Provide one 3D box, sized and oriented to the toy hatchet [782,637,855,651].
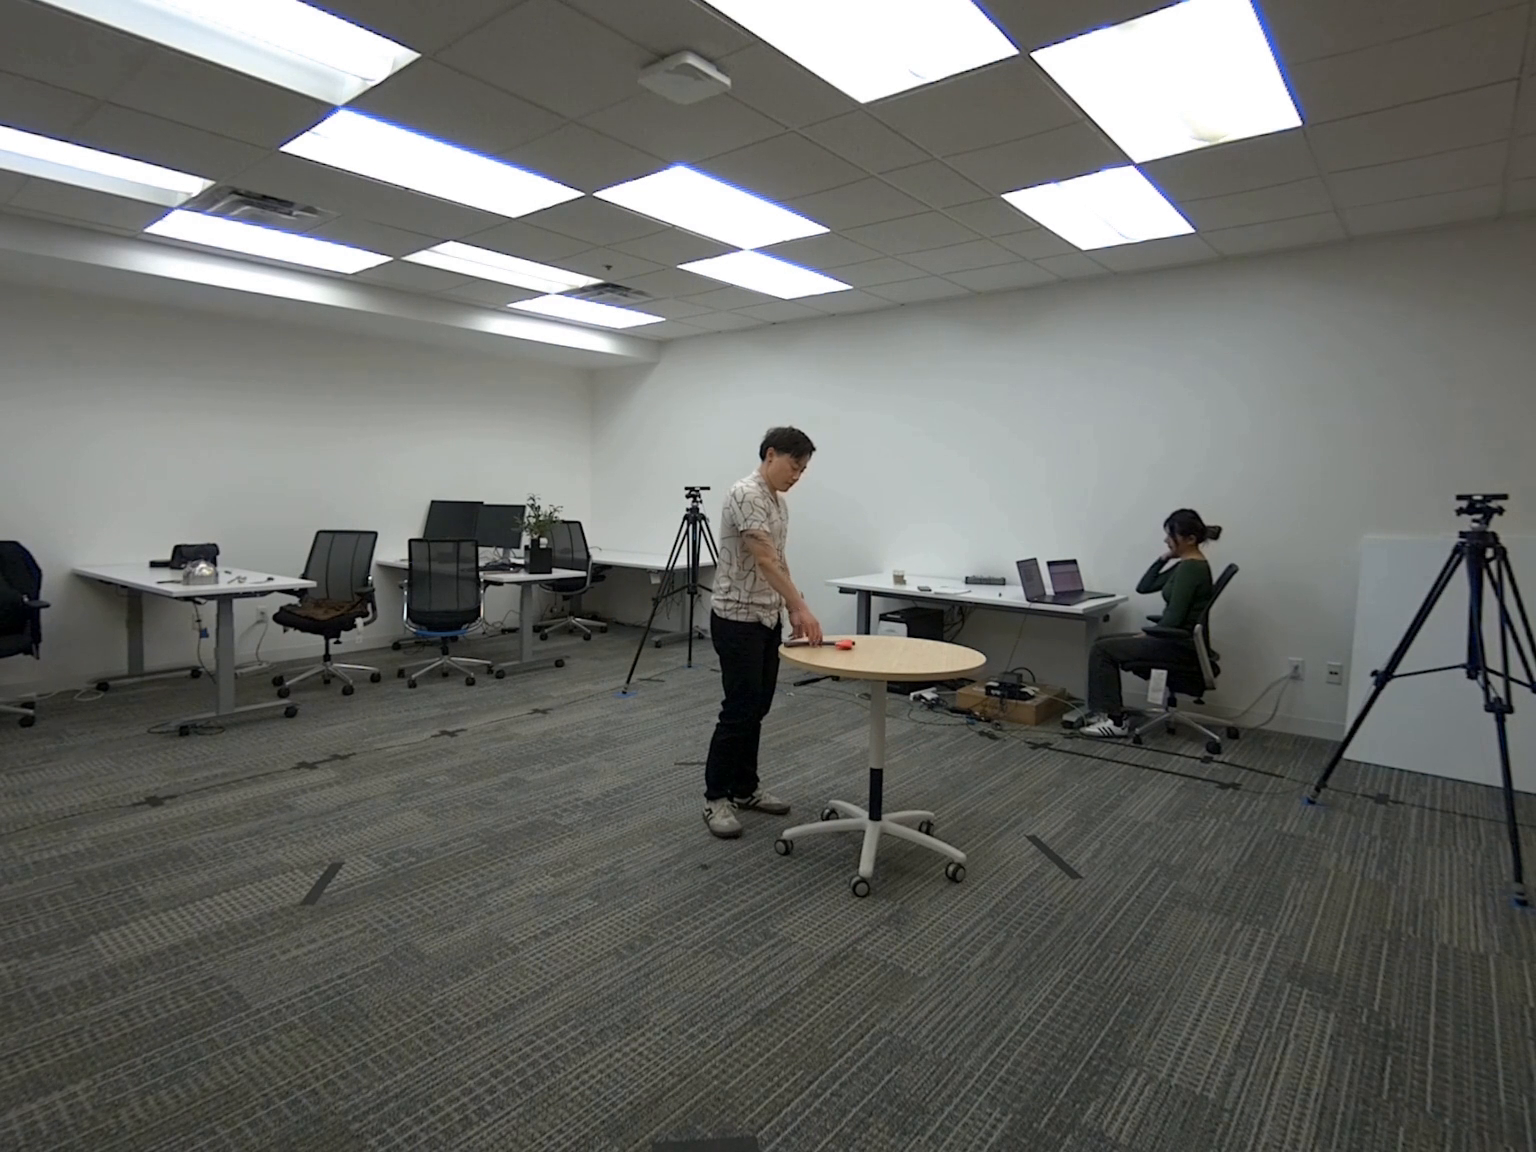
[{"bbox_3d":[0.213,0.264,3.266,0.266,0.029,0.133,-1,3,-13],"label":"toy hatchet"}]
